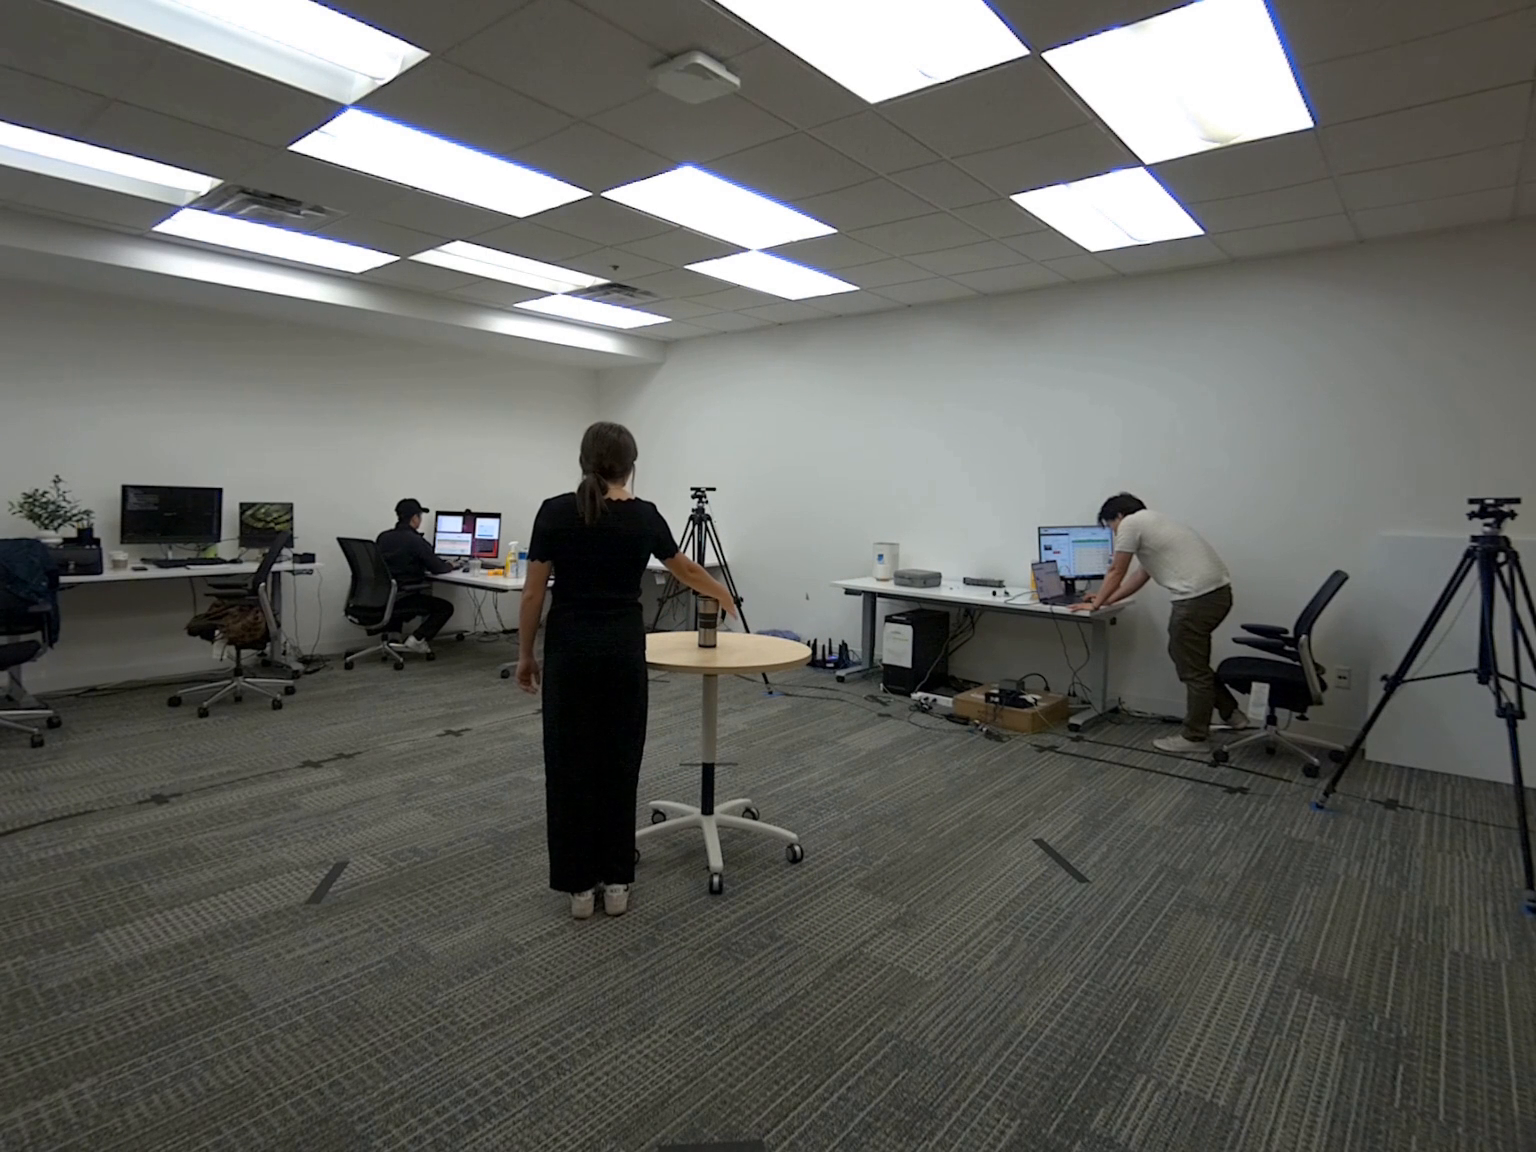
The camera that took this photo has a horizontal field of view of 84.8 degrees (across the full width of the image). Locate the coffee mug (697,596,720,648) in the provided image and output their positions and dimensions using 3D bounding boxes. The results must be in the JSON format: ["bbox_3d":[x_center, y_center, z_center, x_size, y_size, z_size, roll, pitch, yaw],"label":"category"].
[{"bbox_3d":[-0.223,0.171,3.239,0.126,0.203,0.085,2,0,36],"label":"coffee mug"}]
